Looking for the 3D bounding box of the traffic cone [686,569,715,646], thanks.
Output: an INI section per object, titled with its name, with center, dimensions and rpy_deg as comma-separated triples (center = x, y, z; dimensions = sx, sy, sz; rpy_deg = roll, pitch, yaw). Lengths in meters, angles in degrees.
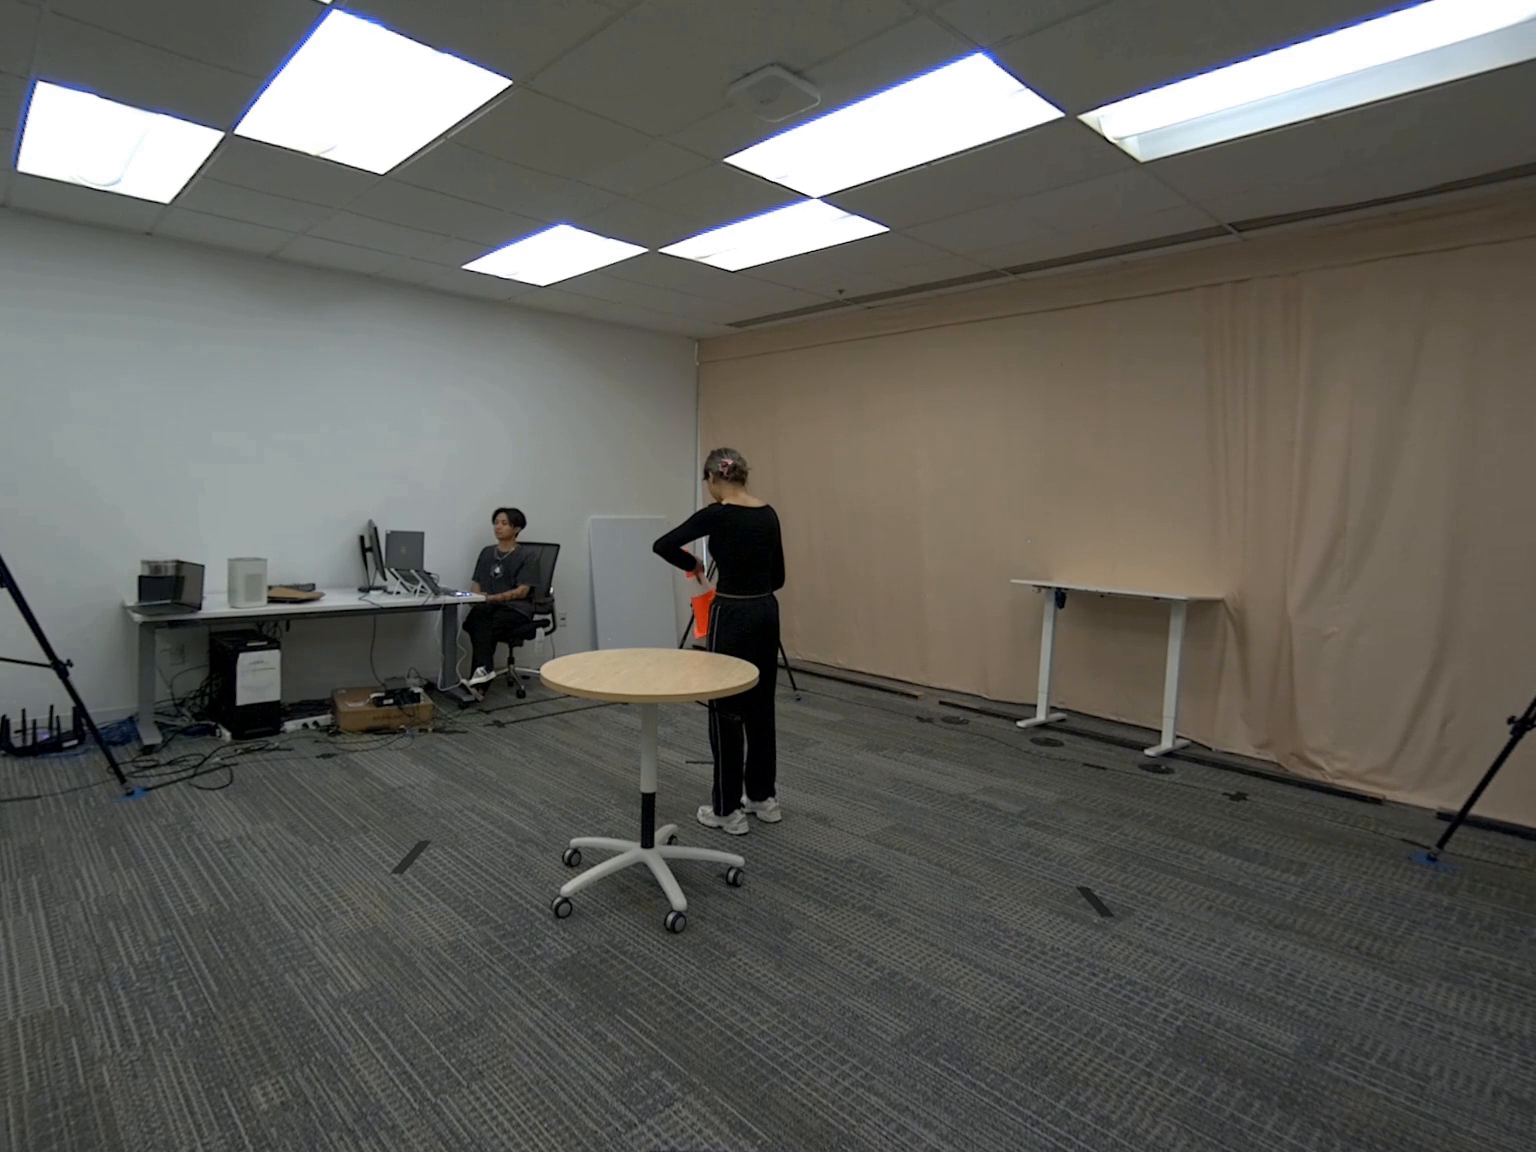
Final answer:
[traffic cone]
center = -0.319, 0.062, 3.822
dimensions = 0.203, 0.381, 0.207
rpy_deg = -20, 9, -7
